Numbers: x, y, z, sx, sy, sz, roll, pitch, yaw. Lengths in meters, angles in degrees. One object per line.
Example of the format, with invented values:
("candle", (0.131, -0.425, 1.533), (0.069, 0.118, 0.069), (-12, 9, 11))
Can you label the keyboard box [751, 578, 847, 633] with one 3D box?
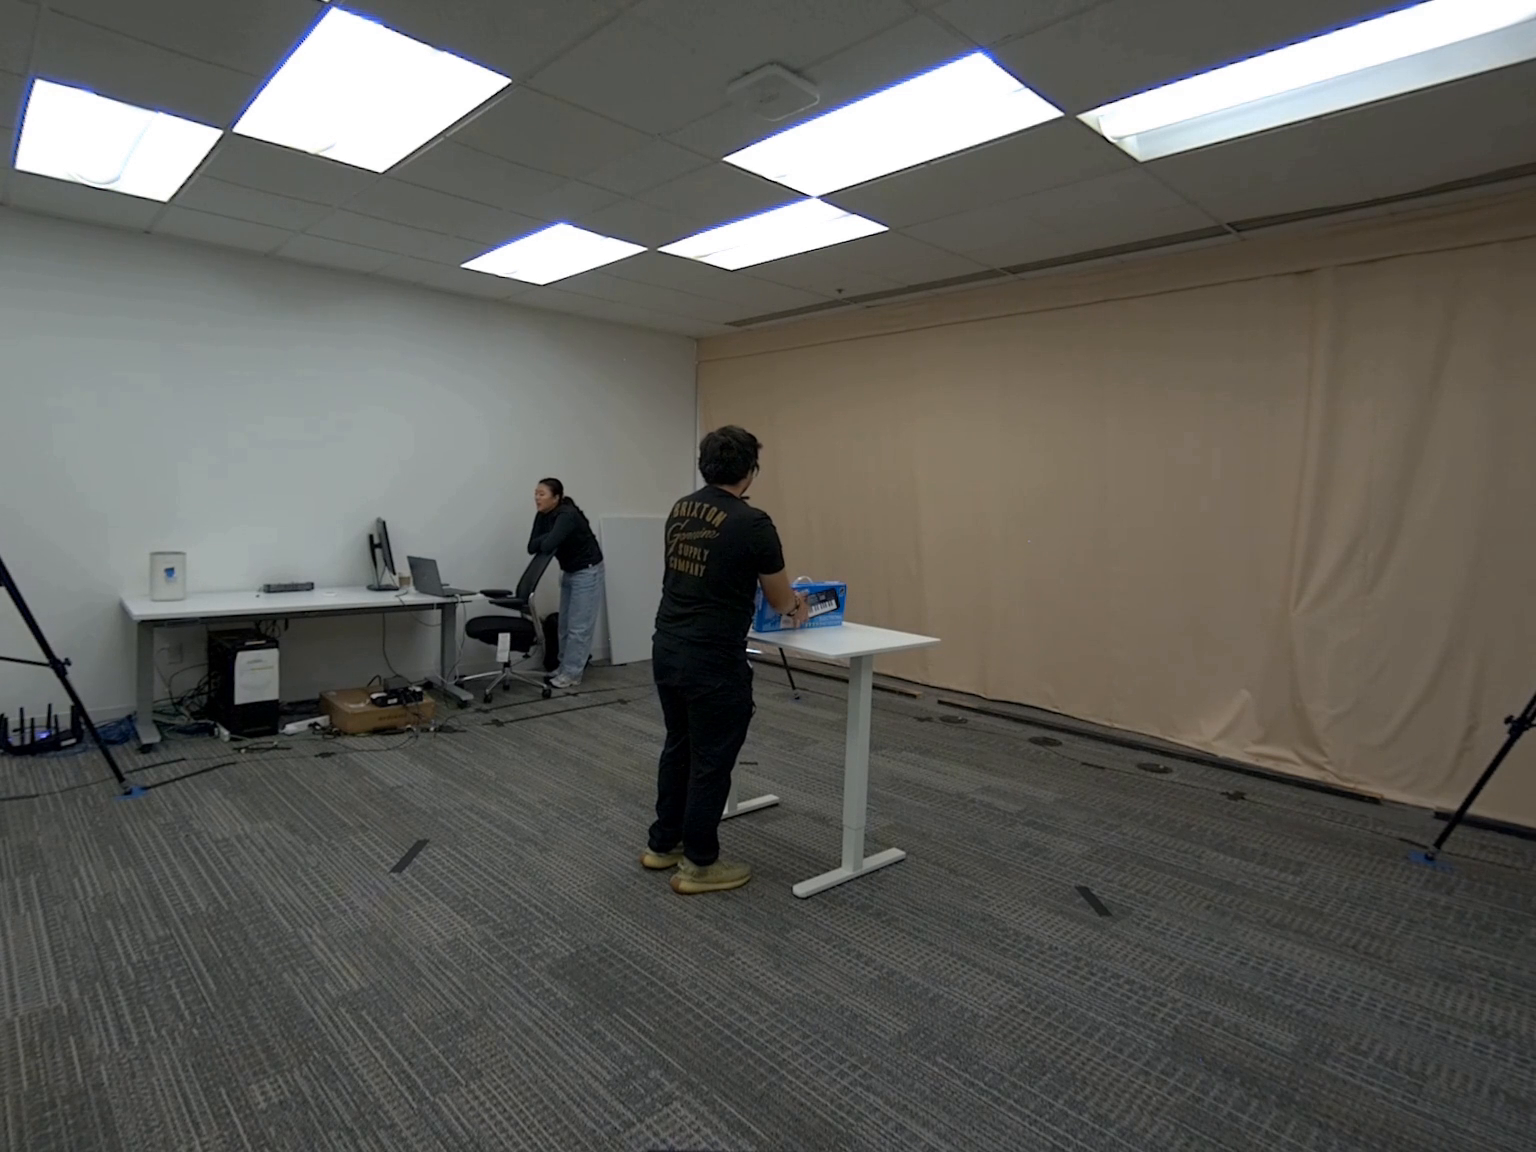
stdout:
("keyboard box", (0.127, 0.122, 3.328), (0.427, 0.175, 0.061), (-2, 12, -39))
